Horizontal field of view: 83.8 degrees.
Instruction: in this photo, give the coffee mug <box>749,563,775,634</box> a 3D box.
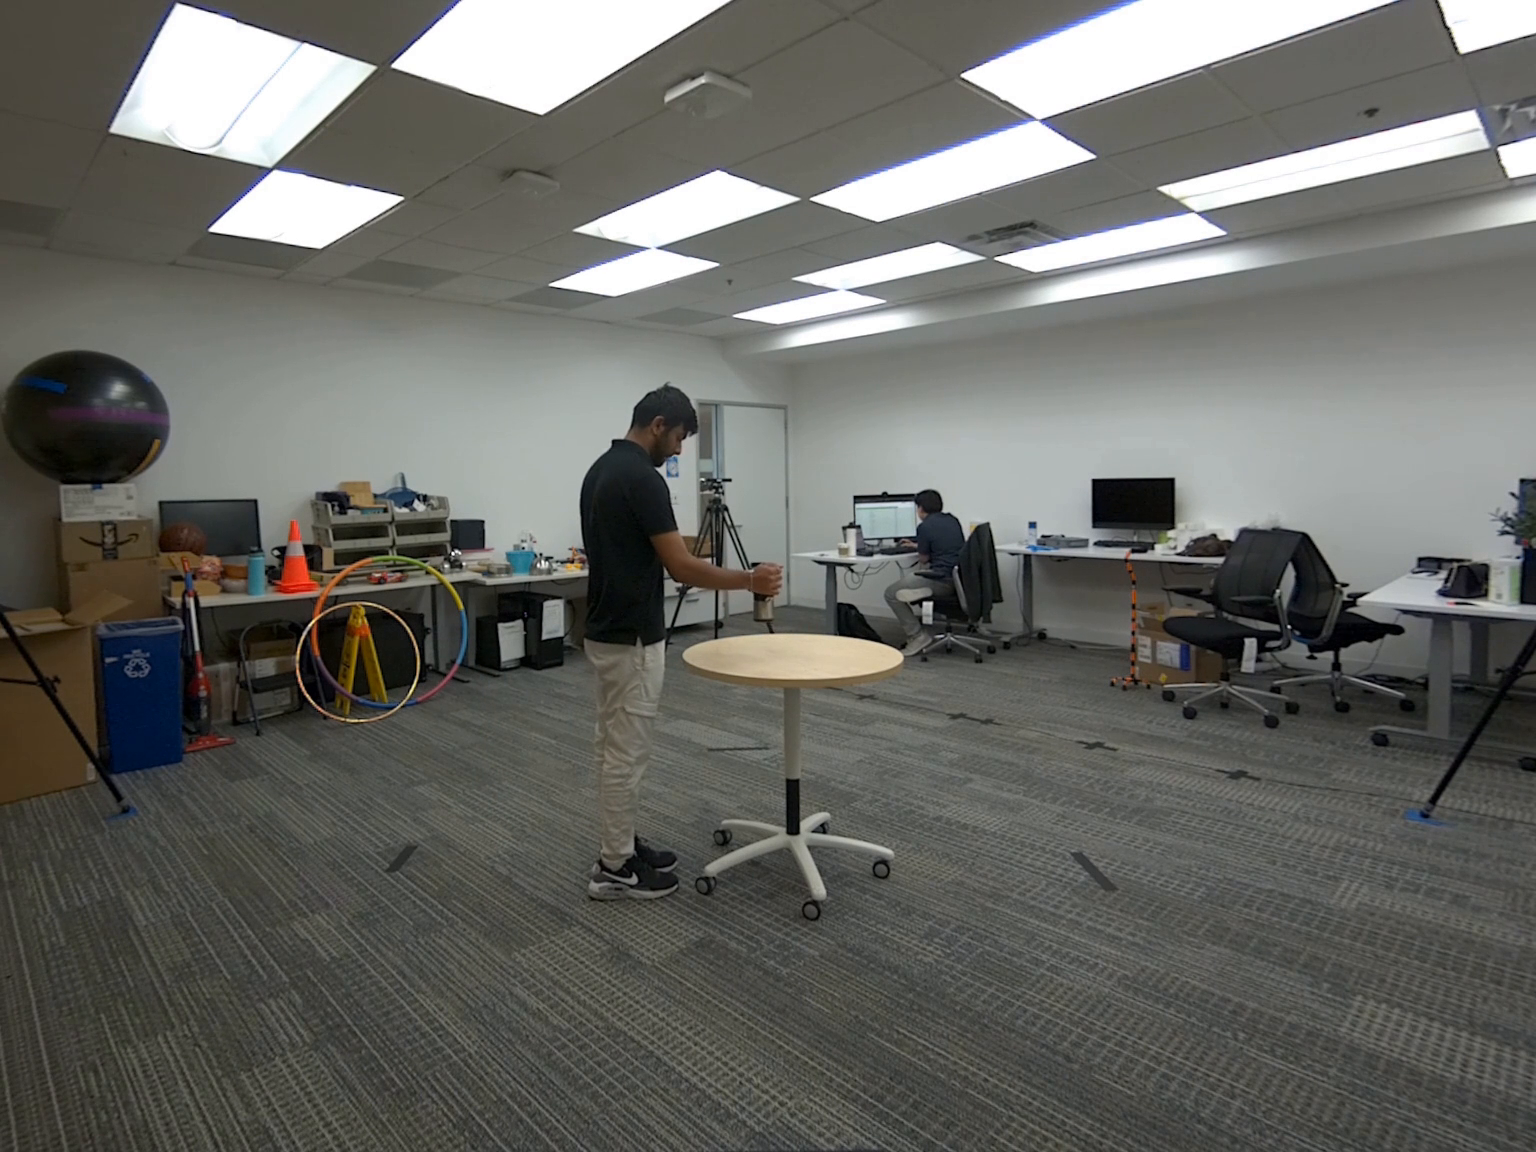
[{"bbox_3d":[-0.021,0.063,2.912,0.090,0.203,0.119,0,-2,27],"label":"coffee mug"}]
